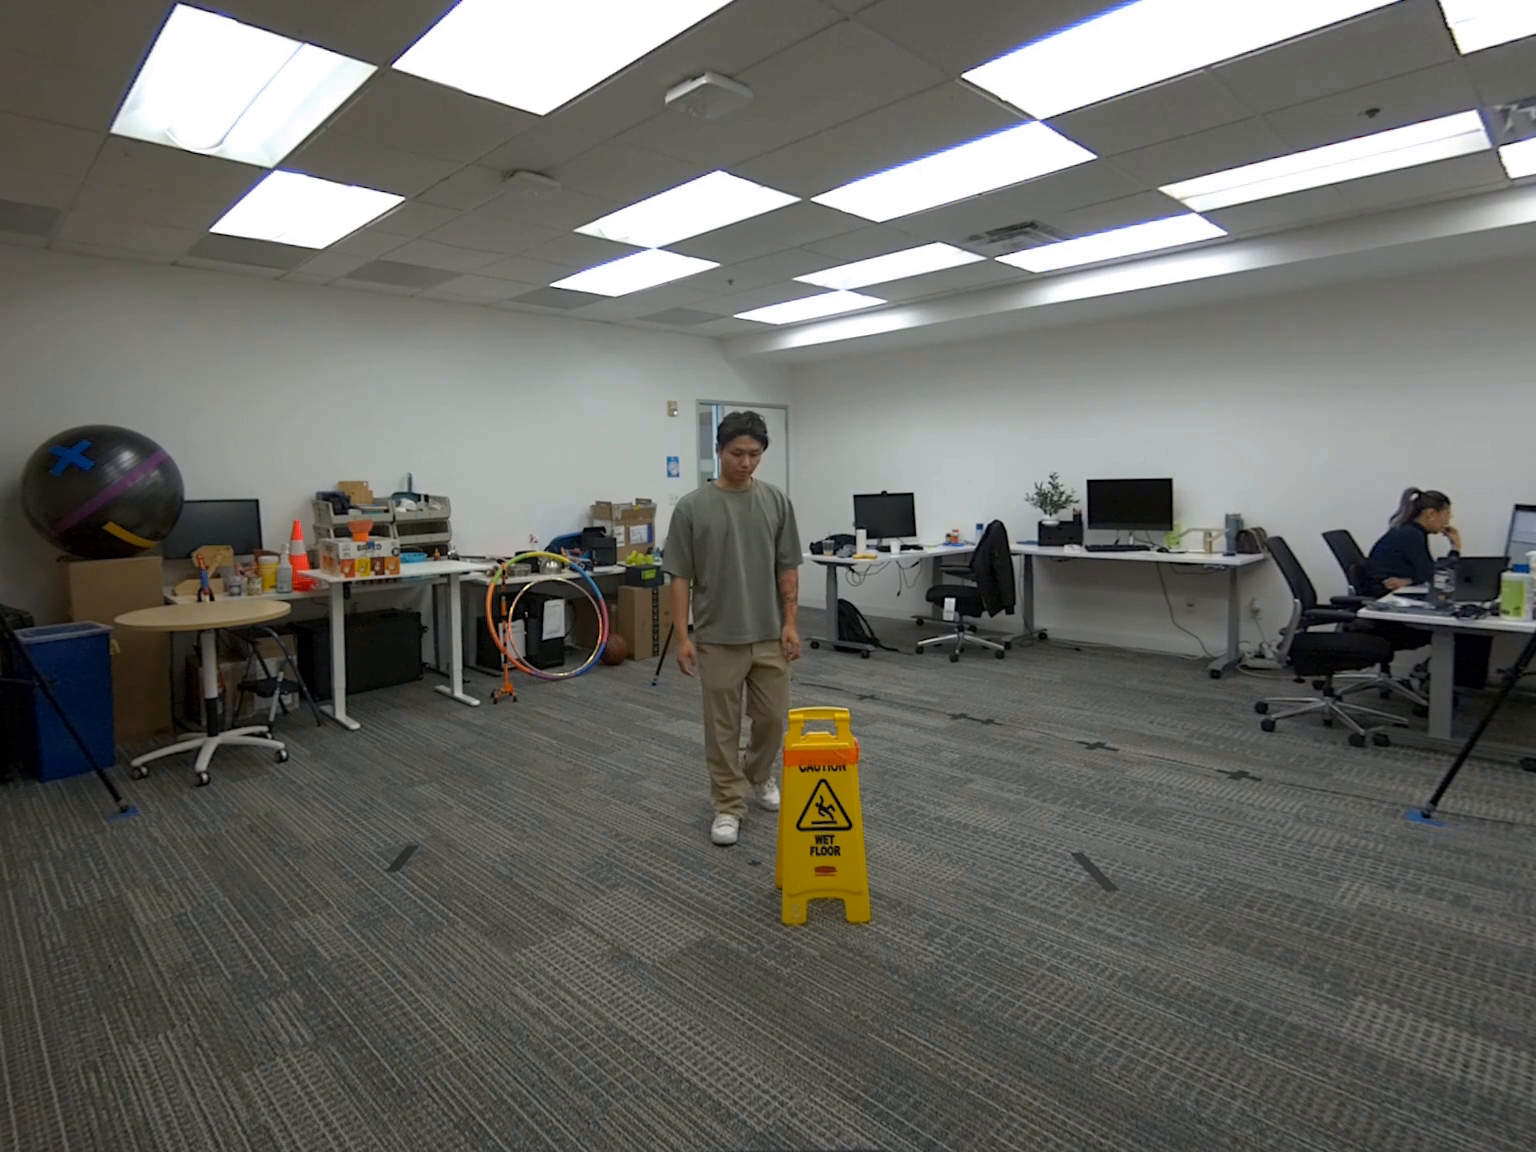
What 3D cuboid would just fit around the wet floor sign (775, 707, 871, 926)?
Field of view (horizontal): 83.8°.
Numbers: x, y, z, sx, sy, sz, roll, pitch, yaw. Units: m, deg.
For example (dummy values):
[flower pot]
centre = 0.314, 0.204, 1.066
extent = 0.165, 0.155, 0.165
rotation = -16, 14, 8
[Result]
[wet floor sign]
centre = 0.167, 0.757, 2.784
extent = 0.281, 0.643, 0.292
rotation = -2, 5, -3
